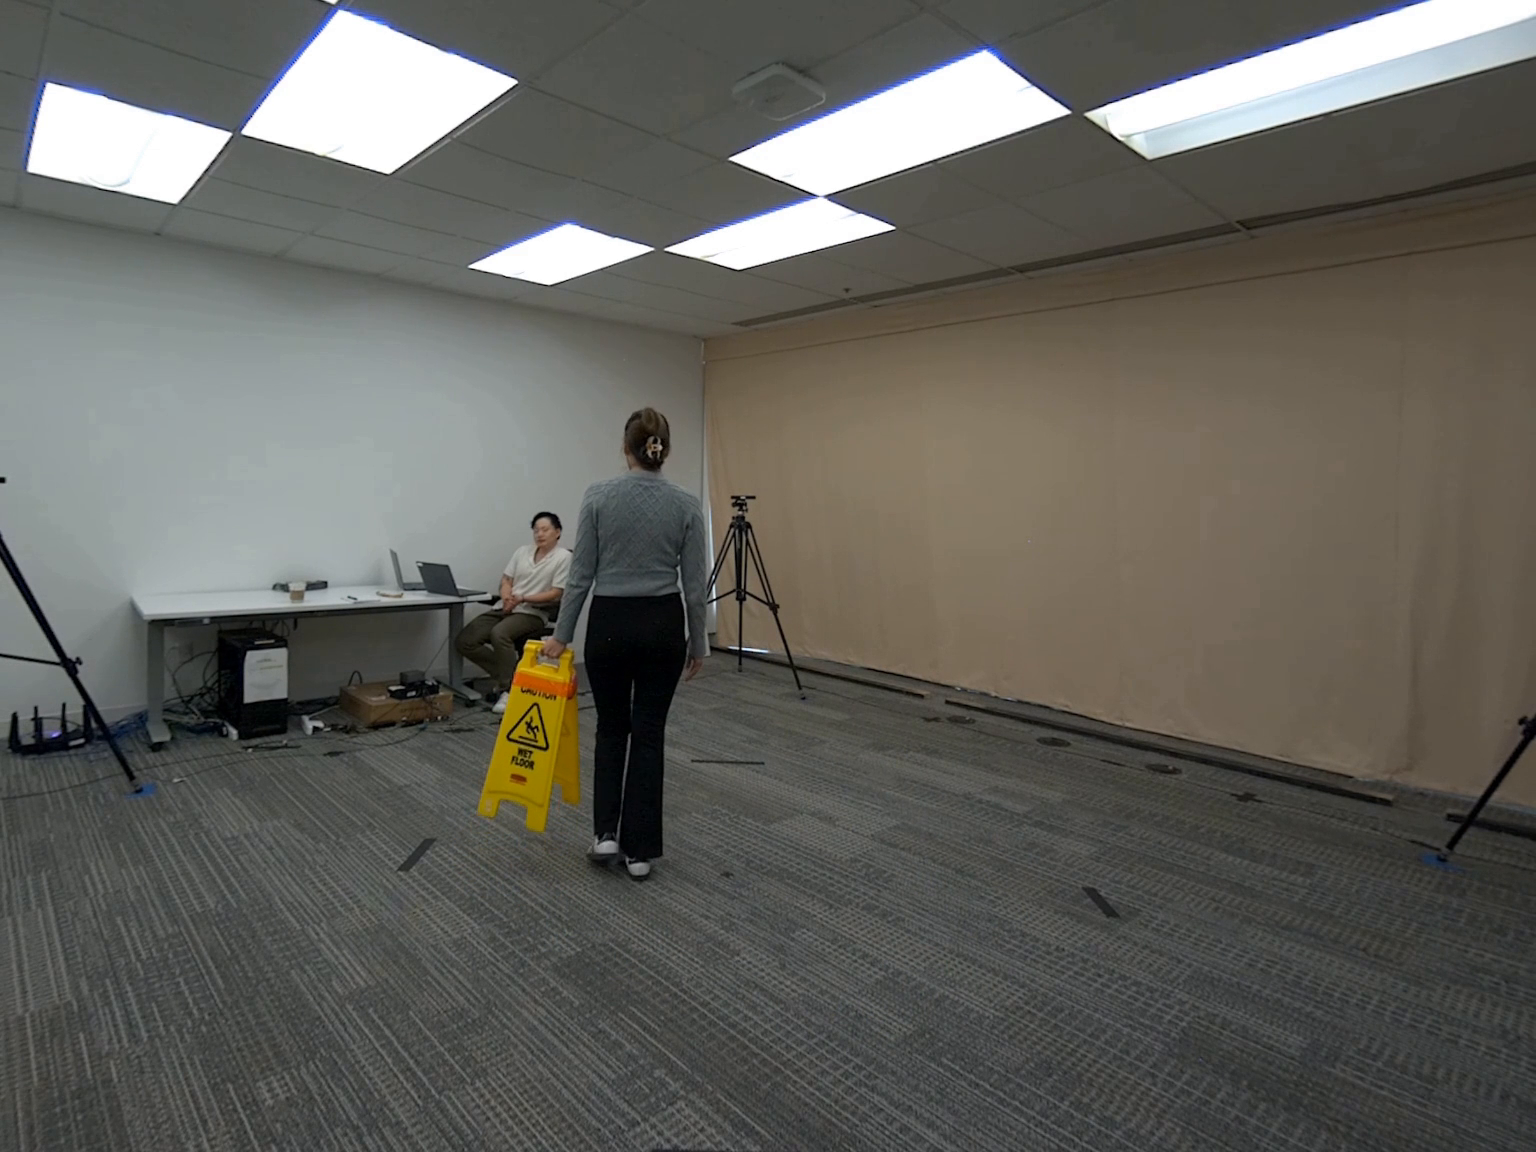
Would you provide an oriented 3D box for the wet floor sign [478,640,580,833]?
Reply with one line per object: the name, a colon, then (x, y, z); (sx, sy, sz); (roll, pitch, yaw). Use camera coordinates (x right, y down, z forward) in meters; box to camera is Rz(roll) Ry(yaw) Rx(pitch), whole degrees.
wet floor sign: (-0.859, 0.573, 3.177); (0.286, 0.644, 0.287); (11, 6, 13)
